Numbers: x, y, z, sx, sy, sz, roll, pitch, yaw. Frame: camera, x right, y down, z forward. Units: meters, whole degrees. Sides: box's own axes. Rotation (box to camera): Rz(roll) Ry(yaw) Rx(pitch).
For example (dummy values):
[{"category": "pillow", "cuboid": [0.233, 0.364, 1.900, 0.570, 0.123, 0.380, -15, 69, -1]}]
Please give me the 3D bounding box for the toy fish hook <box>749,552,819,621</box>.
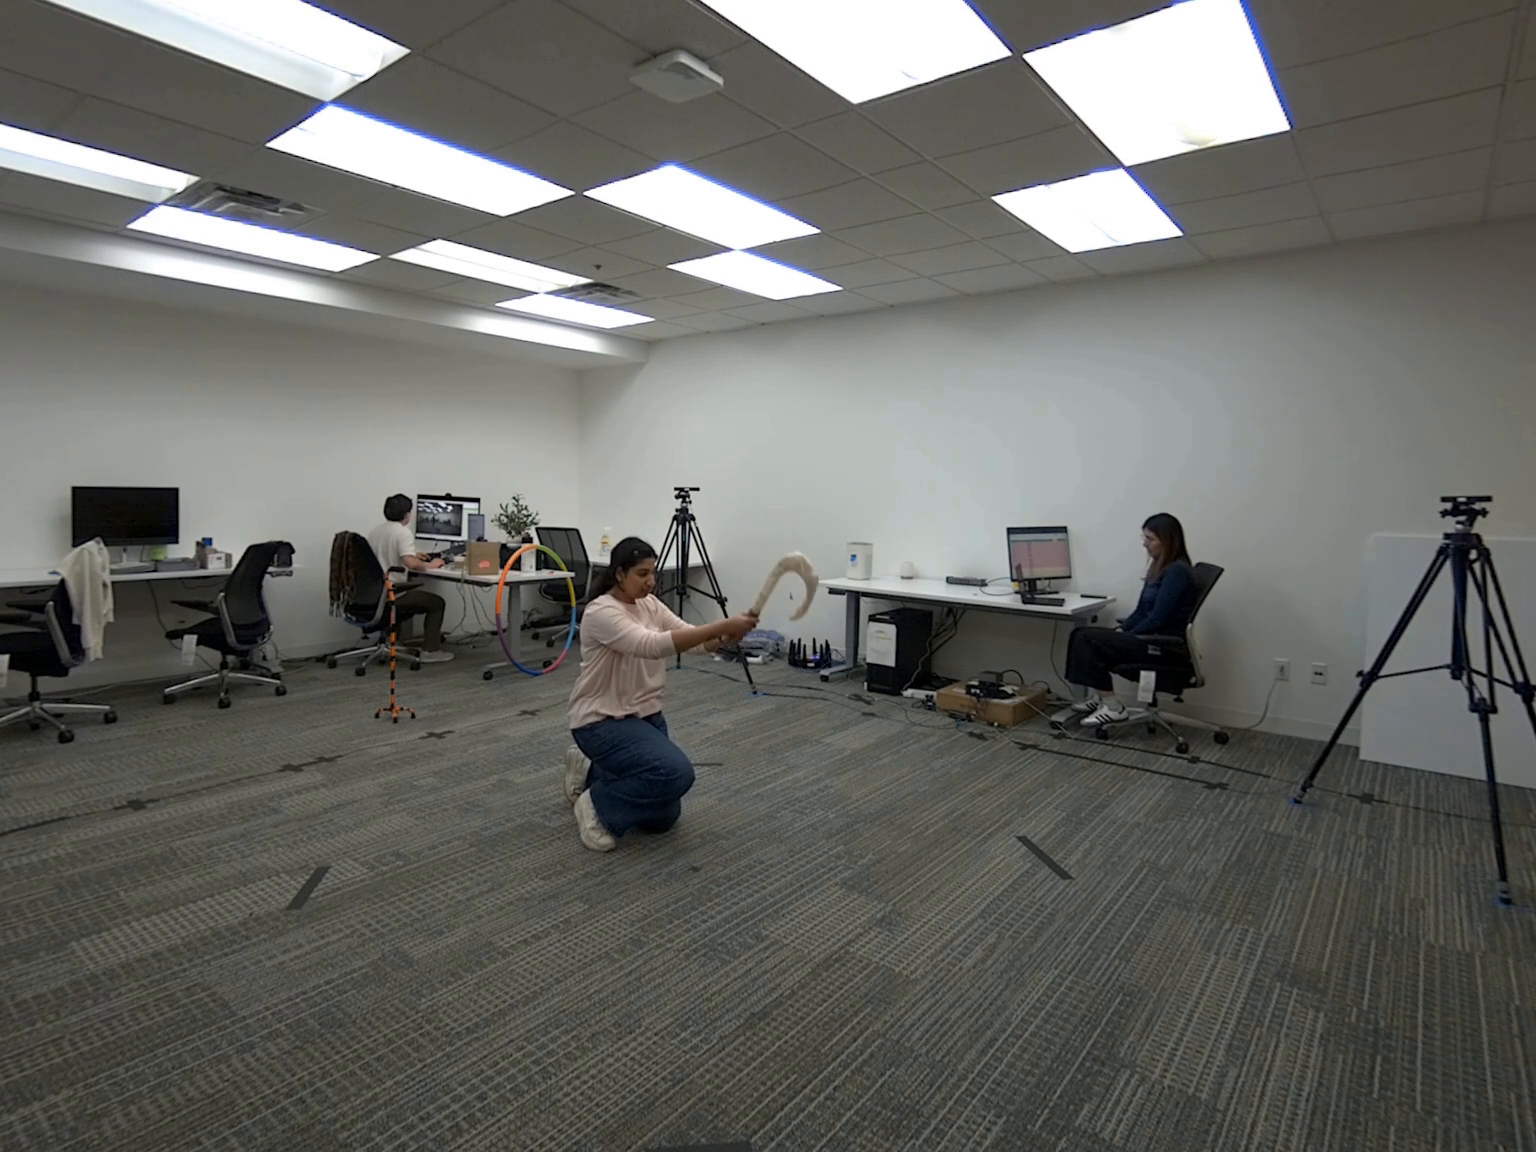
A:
[{"category": "toy fish hook", "cuboid": [-0.027, 0.125, 3.093, 0.046, 0.233, 0.506, 11, -50, -42]}]
